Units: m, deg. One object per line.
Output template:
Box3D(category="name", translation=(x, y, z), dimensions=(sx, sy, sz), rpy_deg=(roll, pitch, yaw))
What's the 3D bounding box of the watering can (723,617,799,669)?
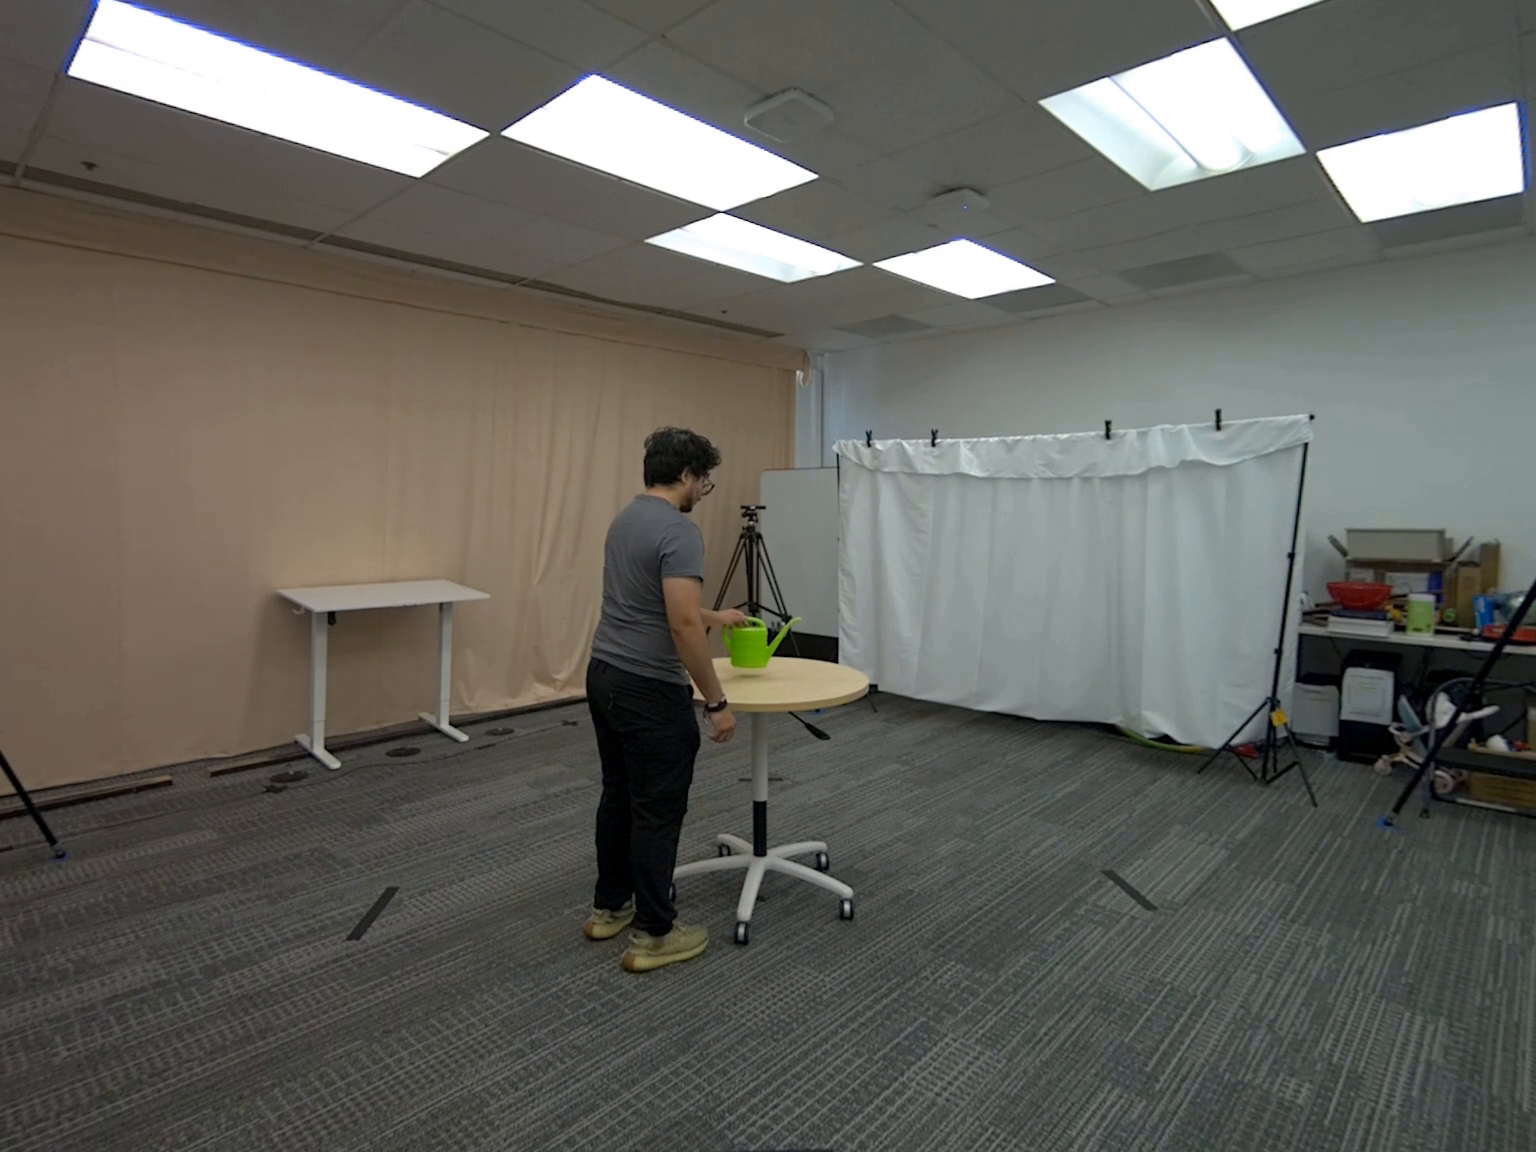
Box3D(category="watering can", translation=(-0.017, 0.236, 2.968), dimensions=(0.285, 0.176, 0.096), rpy_deg=(0, 3, 25))
